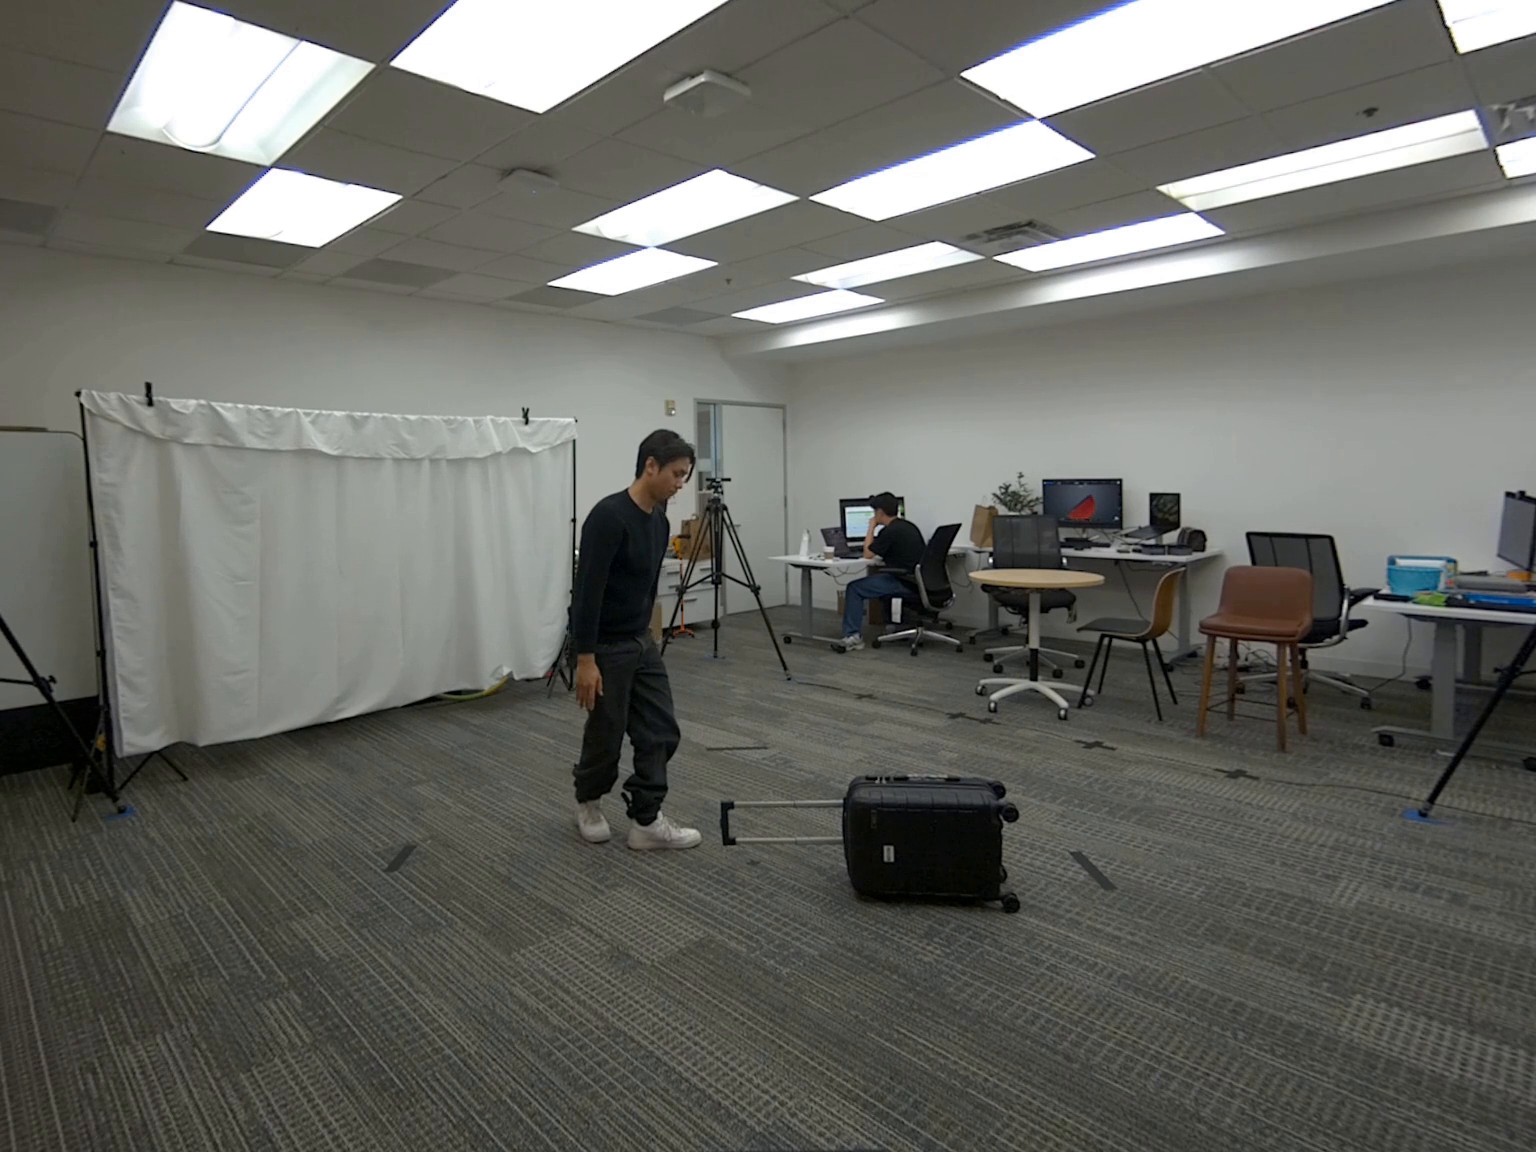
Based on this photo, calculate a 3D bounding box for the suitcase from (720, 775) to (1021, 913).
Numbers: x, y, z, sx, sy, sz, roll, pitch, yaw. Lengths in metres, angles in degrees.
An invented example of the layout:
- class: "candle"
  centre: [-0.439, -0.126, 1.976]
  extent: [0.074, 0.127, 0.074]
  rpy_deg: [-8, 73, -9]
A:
- class: "suitcase"
  centre: [0.324, 0.874, 2.878]
  extent: [0.984, 0.383, 0.256]
  rpy_deg: [-1, 3, 5]
